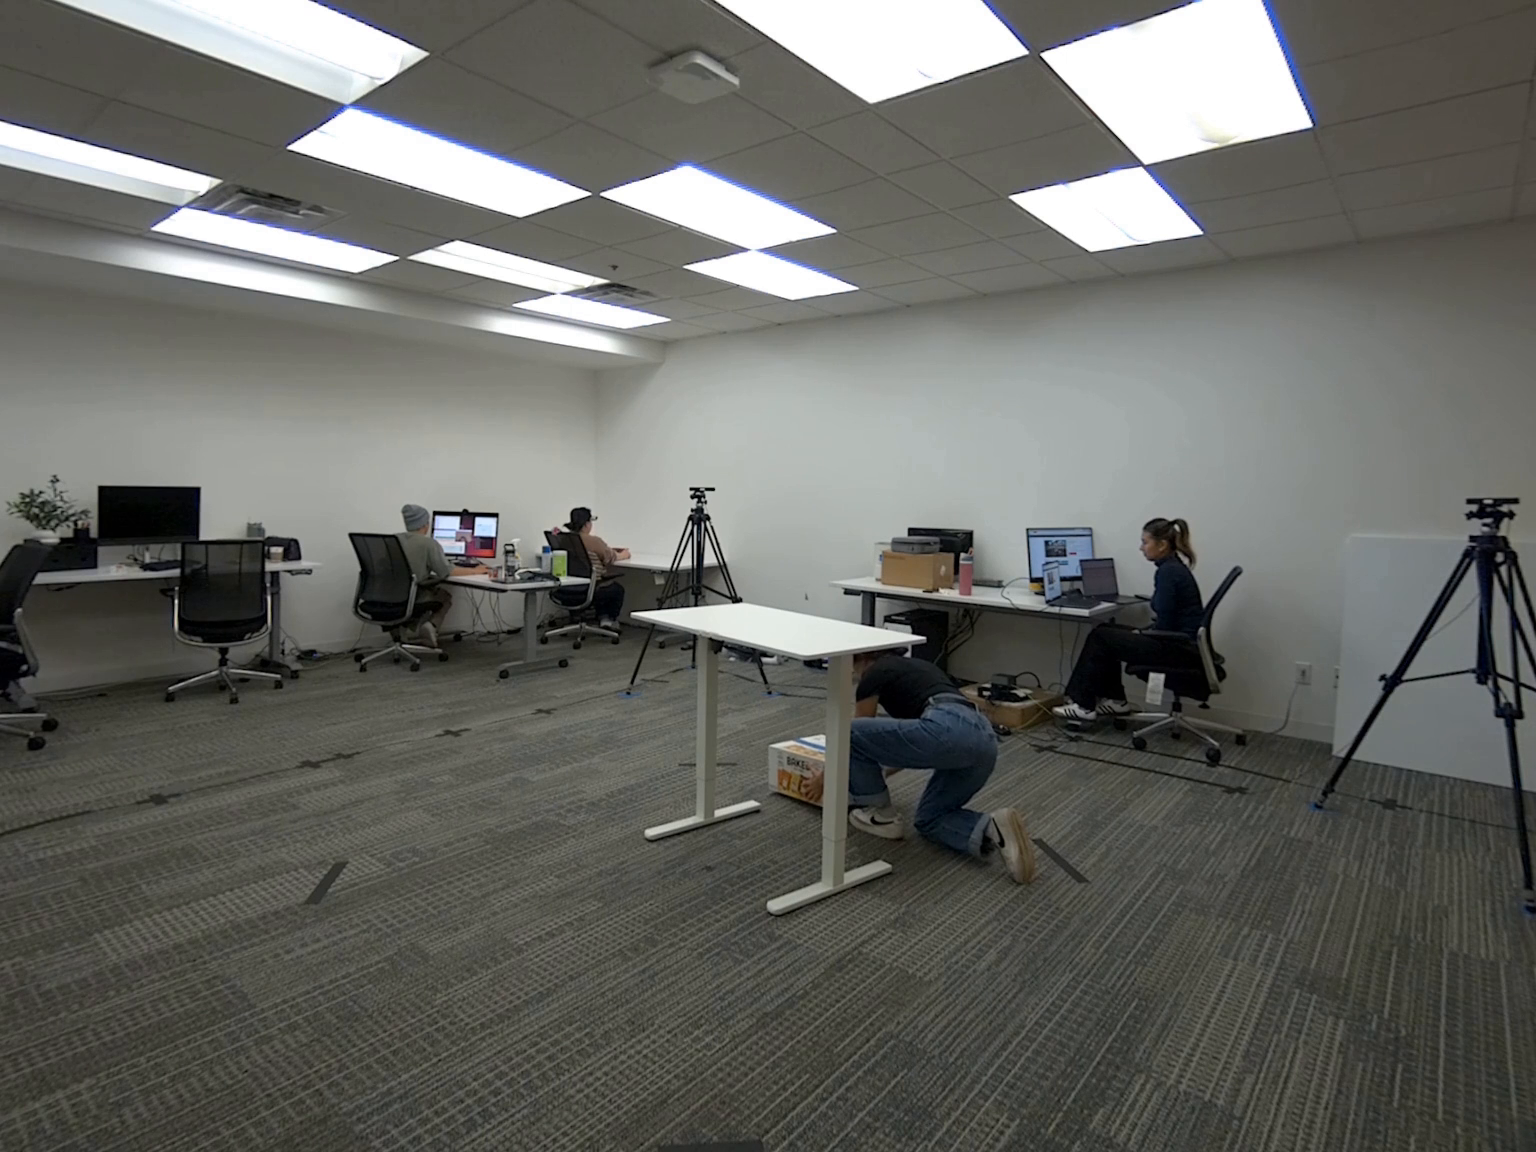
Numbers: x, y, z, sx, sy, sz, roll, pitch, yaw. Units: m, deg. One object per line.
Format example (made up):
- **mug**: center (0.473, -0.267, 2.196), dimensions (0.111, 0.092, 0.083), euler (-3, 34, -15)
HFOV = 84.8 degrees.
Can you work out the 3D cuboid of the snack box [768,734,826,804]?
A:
- **snack box**: center (0.255, 0.872, 3.855), dimensions (0.330, 0.205, 0.418), euler (-2, 2, -40)
